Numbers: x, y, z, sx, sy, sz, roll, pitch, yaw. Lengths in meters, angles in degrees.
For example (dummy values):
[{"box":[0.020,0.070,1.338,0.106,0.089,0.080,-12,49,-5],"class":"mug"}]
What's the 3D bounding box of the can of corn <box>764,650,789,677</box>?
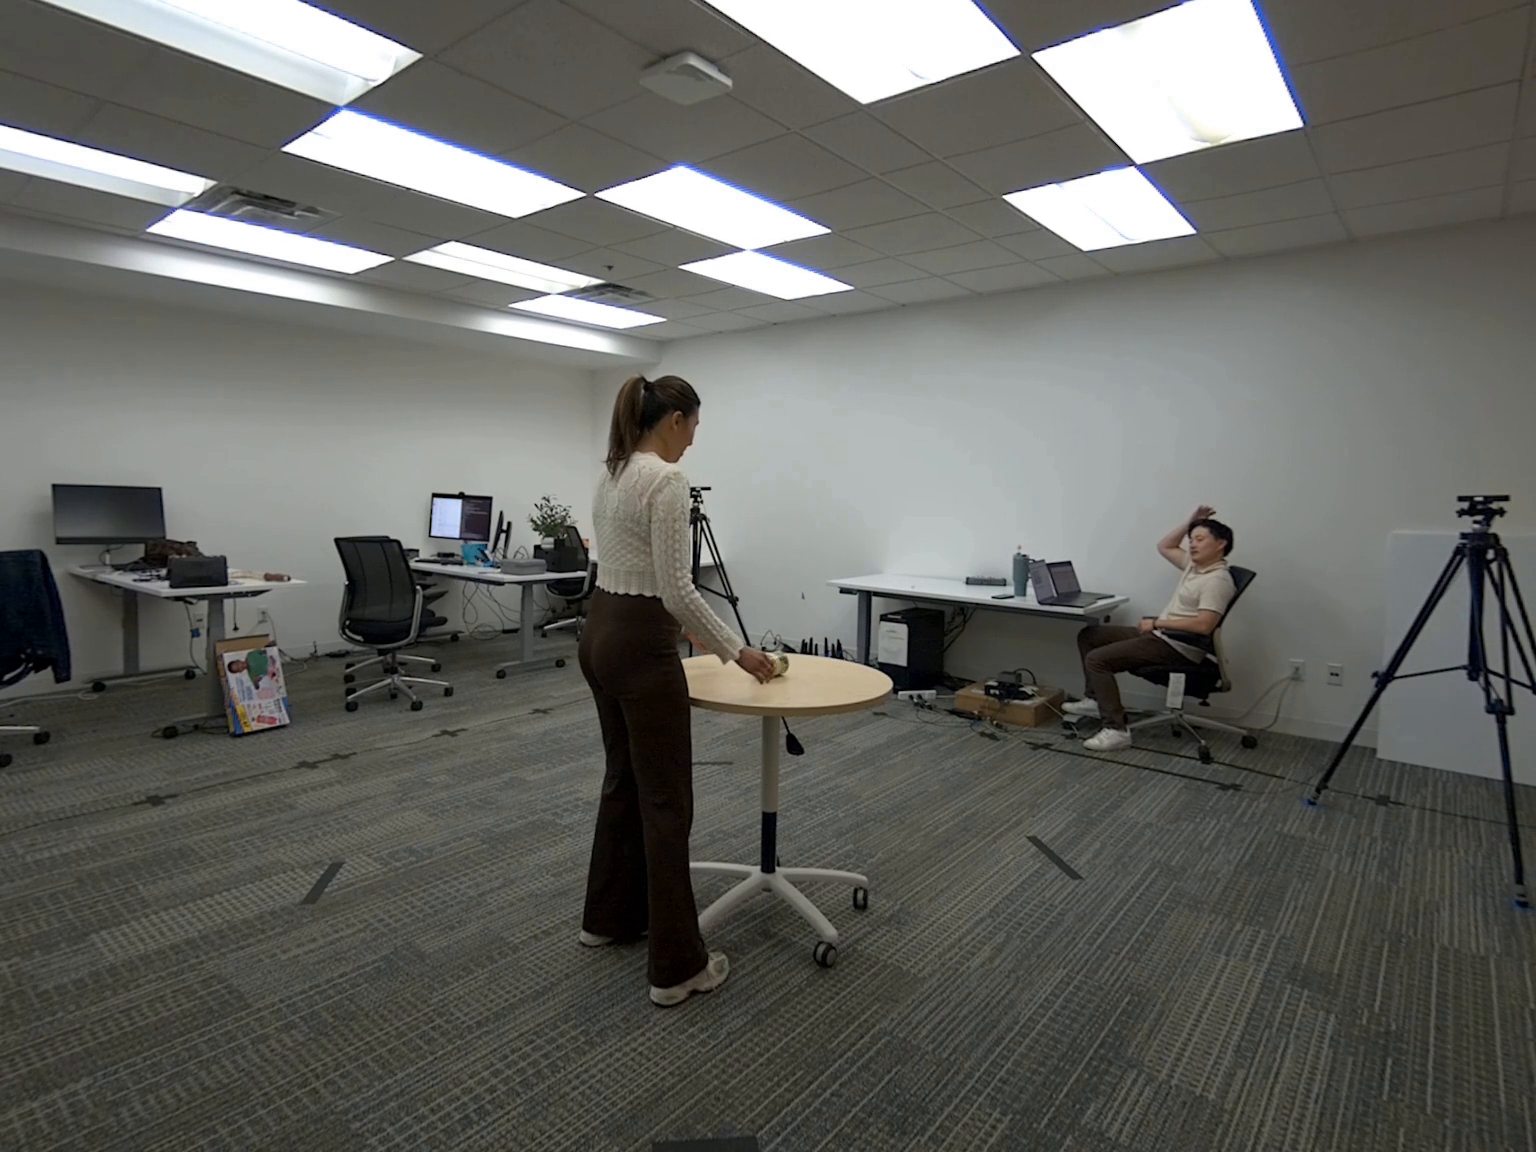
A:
[{"box":[0.000,0.285,2.746,0.076,0.074,0.108,3,6,31],"class":"can of corn"}]
